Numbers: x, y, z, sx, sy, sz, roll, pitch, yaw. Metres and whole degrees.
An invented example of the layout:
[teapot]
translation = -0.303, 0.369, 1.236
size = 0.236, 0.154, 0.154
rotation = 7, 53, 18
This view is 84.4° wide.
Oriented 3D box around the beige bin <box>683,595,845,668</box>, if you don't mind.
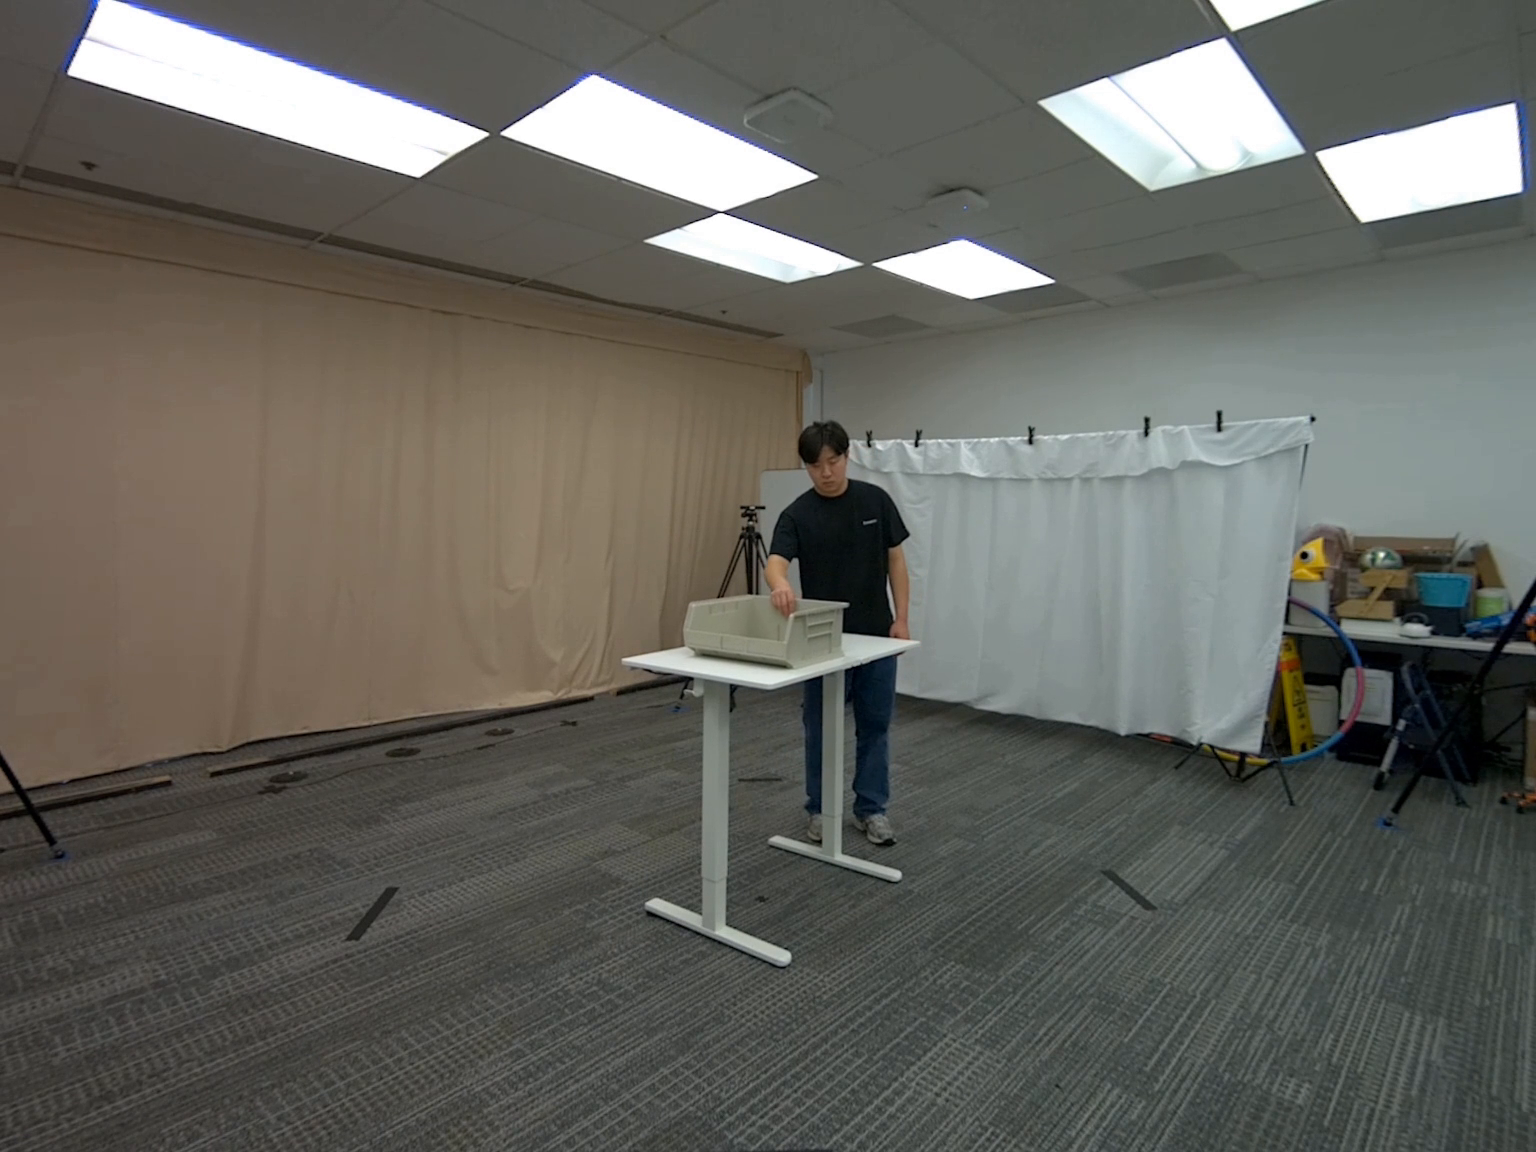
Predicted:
[beige bin]
translation = -0.003, 0.185, 2.837
size = 0.436, 0.188, 0.366
rotation = 3, 4, 37
